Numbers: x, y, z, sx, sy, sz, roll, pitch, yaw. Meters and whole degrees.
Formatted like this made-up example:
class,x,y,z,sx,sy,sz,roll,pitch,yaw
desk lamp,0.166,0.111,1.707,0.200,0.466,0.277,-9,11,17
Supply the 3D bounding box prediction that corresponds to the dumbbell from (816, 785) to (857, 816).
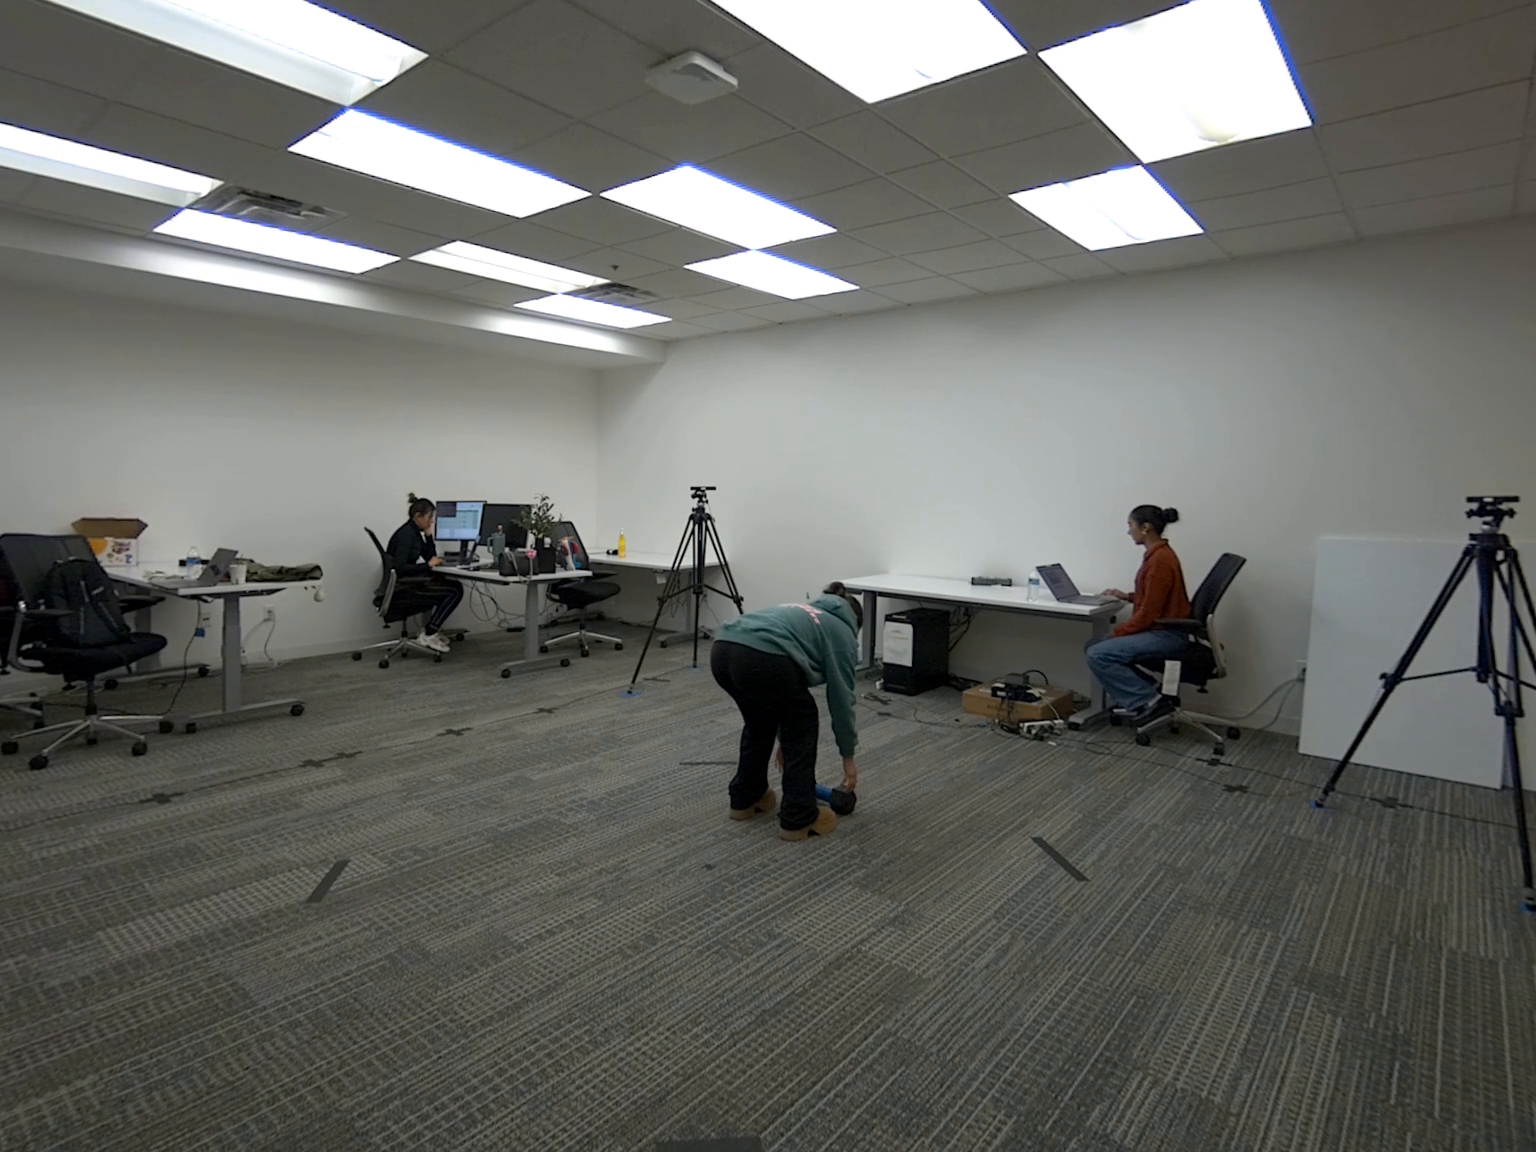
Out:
class,x,y,z,sx,sy,sz,roll,pitch,yaw
dumbbell,0.229,0.950,3.745,0.304,0.124,0.104,7,-25,44
